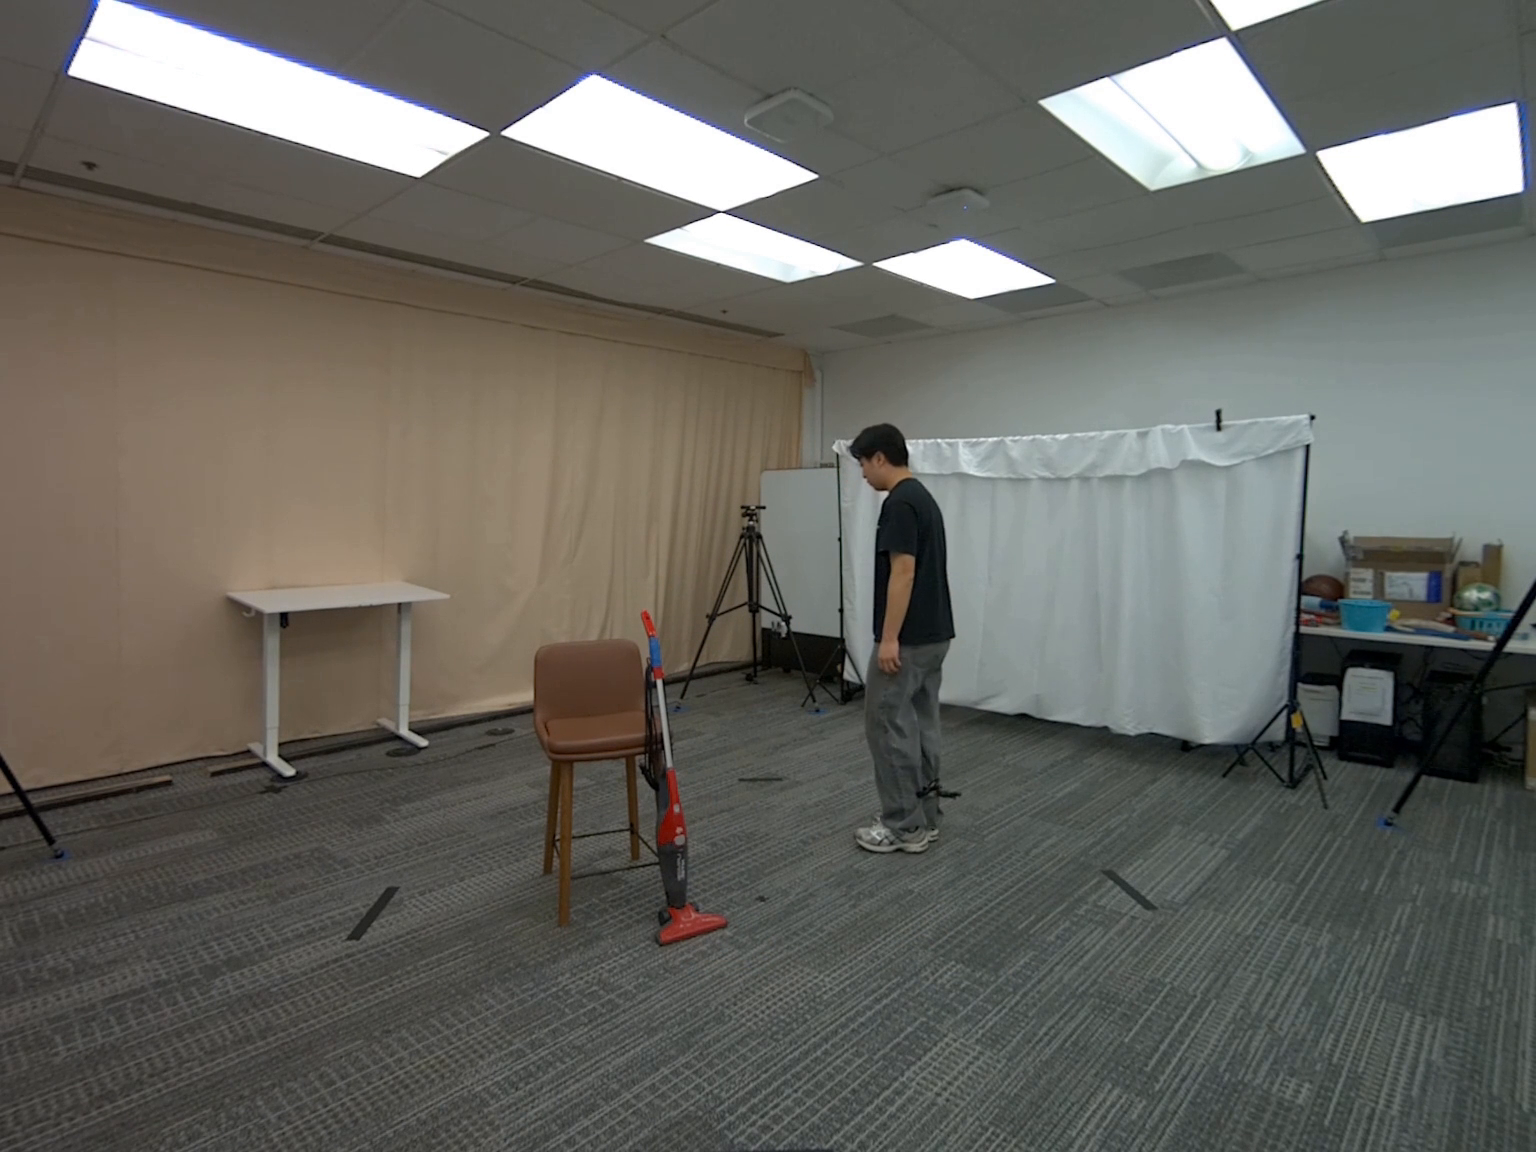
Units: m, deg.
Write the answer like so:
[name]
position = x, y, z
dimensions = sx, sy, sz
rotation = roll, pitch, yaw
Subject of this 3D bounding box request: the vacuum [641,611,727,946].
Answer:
[vacuum]
position = -0.353, 0.646, 2.872
dimensions = 0.245, 1.056, 0.147
rotation = -3, -10, -36
